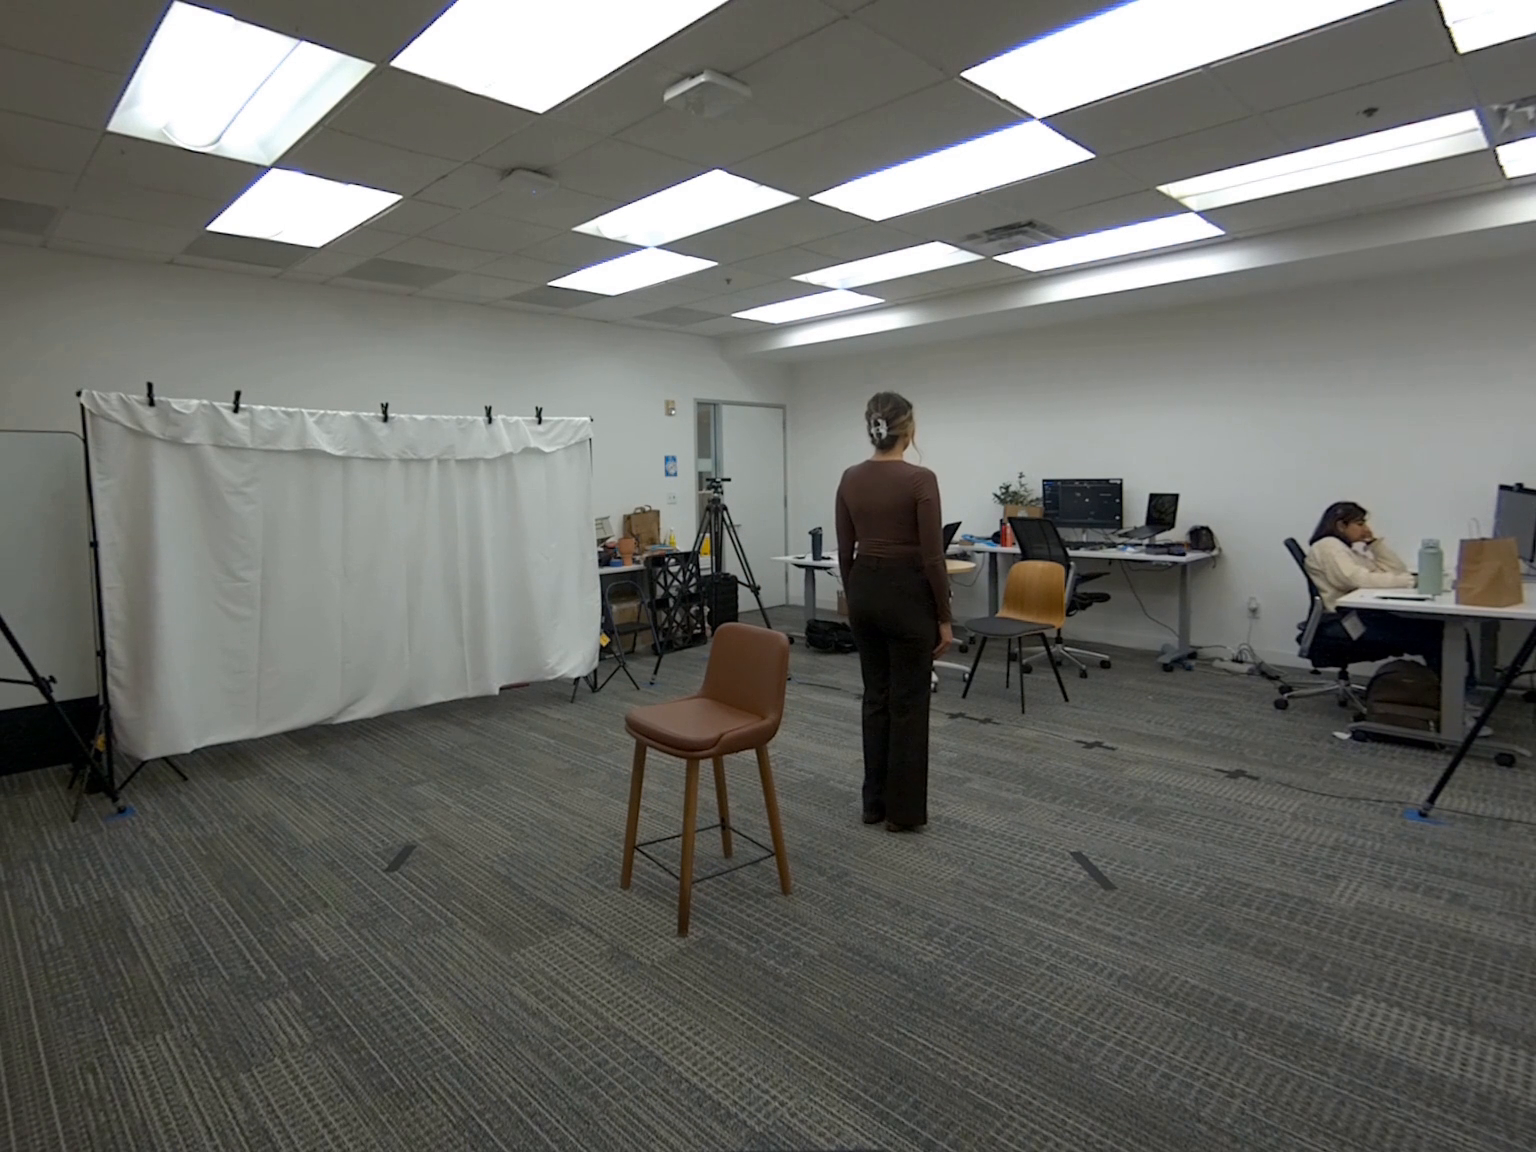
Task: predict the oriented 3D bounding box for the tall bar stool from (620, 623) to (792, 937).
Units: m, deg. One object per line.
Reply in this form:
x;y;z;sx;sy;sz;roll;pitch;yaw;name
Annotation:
-0.208;0.636;2.874;0.455;0.887;0.470;-2;4;-36;tall bar stool
